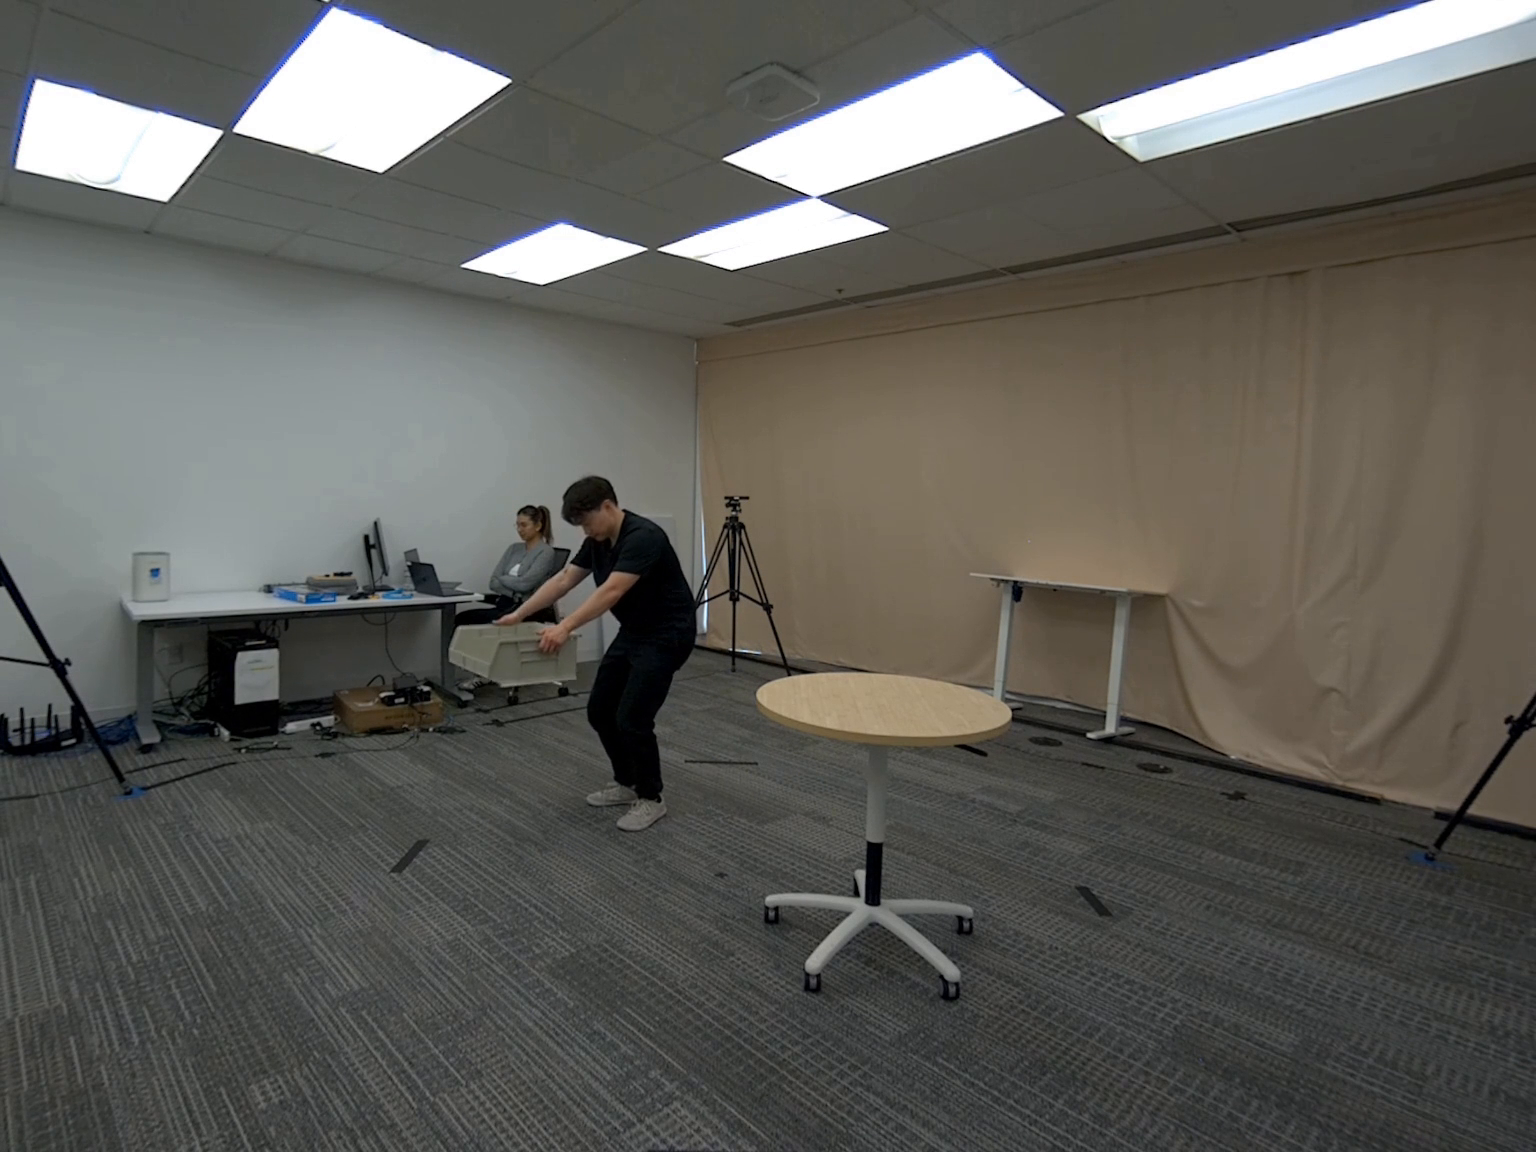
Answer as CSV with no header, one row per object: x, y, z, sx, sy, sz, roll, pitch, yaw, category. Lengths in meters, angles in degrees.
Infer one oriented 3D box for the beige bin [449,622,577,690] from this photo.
-1.020,0.315,3.356,0.368,0.189,0.433,1,3,-40,beige bin
